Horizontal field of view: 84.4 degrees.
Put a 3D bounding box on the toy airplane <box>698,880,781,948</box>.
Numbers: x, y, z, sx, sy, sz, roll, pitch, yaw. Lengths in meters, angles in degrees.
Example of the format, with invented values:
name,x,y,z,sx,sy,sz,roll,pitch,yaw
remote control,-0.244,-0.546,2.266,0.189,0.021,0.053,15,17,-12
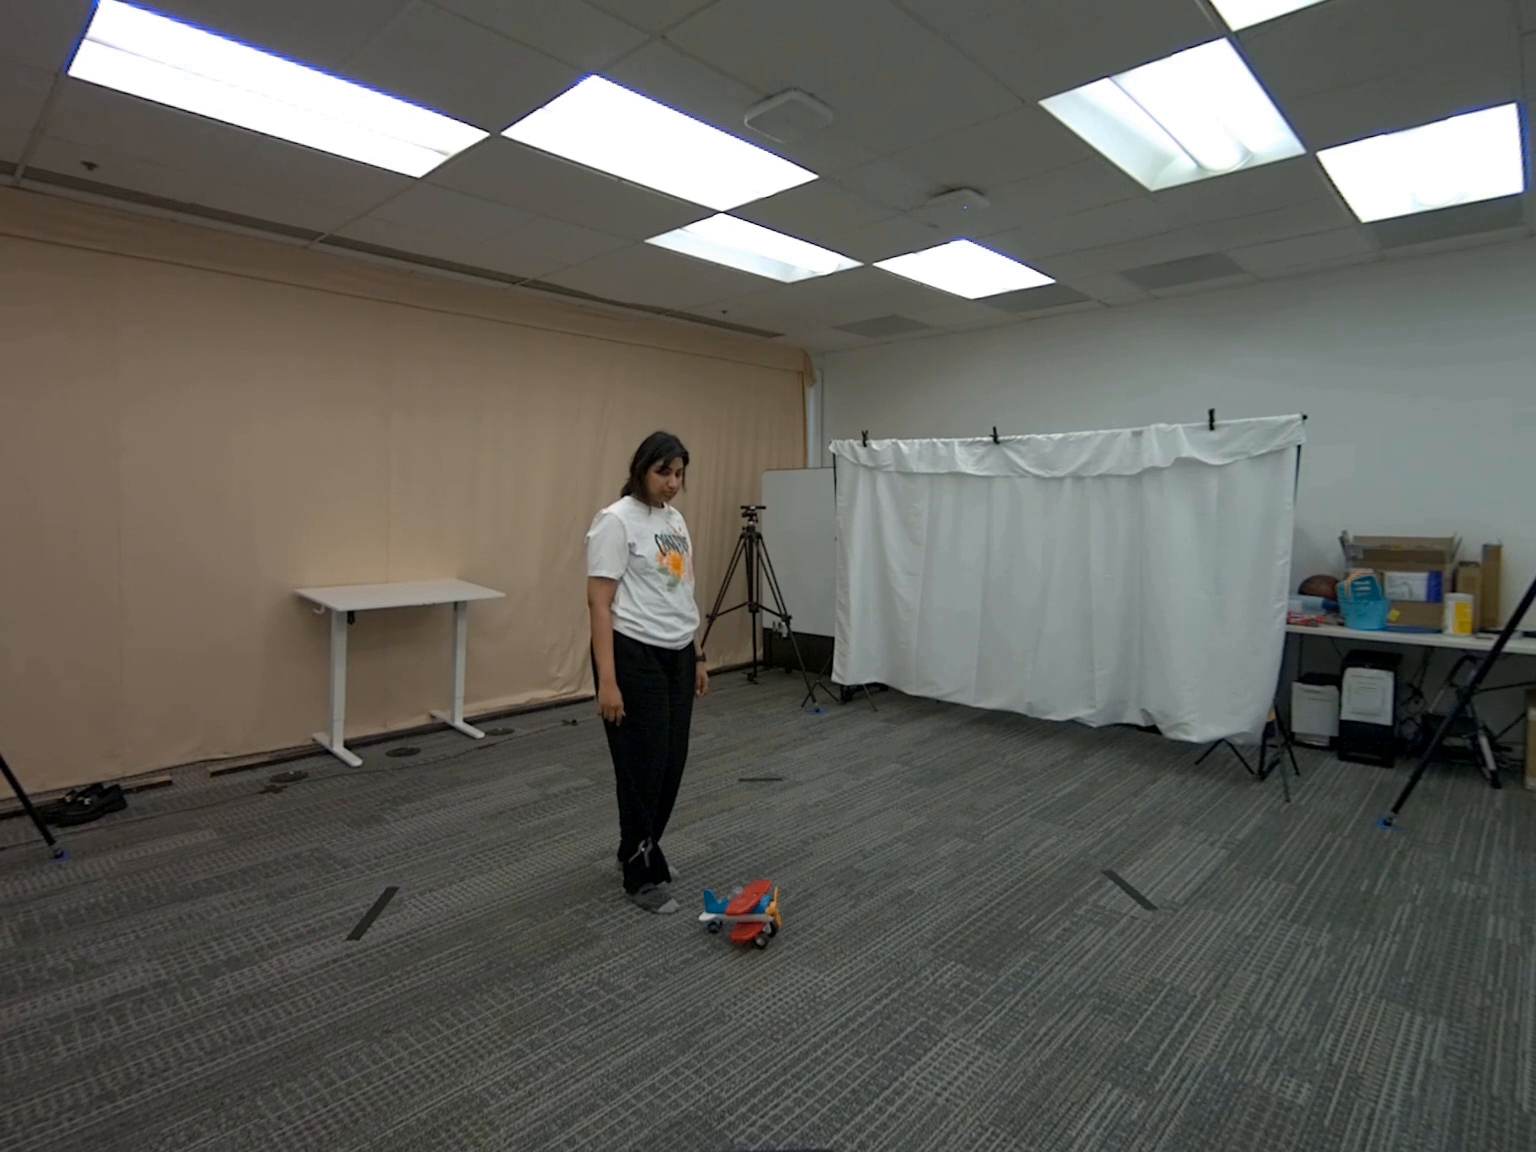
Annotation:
name,x,y,z,sx,sy,sz,roll,pitch,yaw
toy airplane,-0.090,1.092,2.702,0.258,0.156,0.253,0,4,-5
